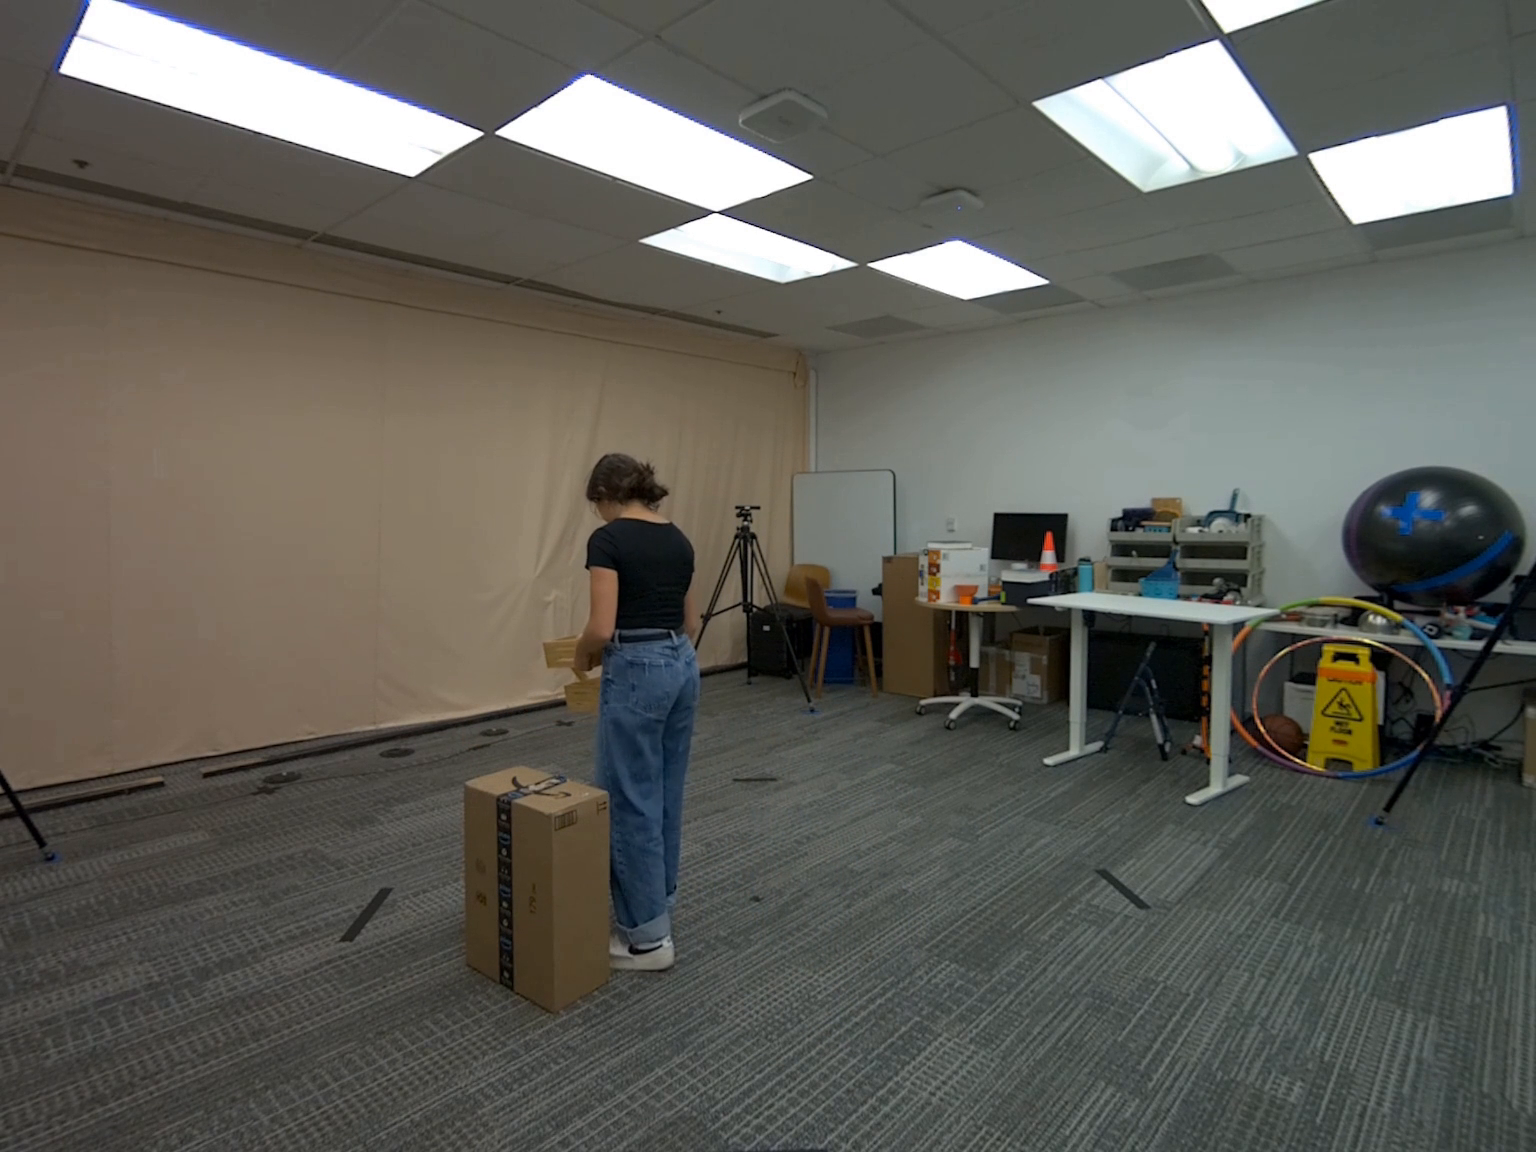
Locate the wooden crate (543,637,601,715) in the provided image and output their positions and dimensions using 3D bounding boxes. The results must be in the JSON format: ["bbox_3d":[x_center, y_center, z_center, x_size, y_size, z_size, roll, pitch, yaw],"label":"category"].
[{"bbox_3d":[-0.559,0.320,2.936,0.334,0.273,0.293,-9,2,44],"label":"wooden crate"}]
